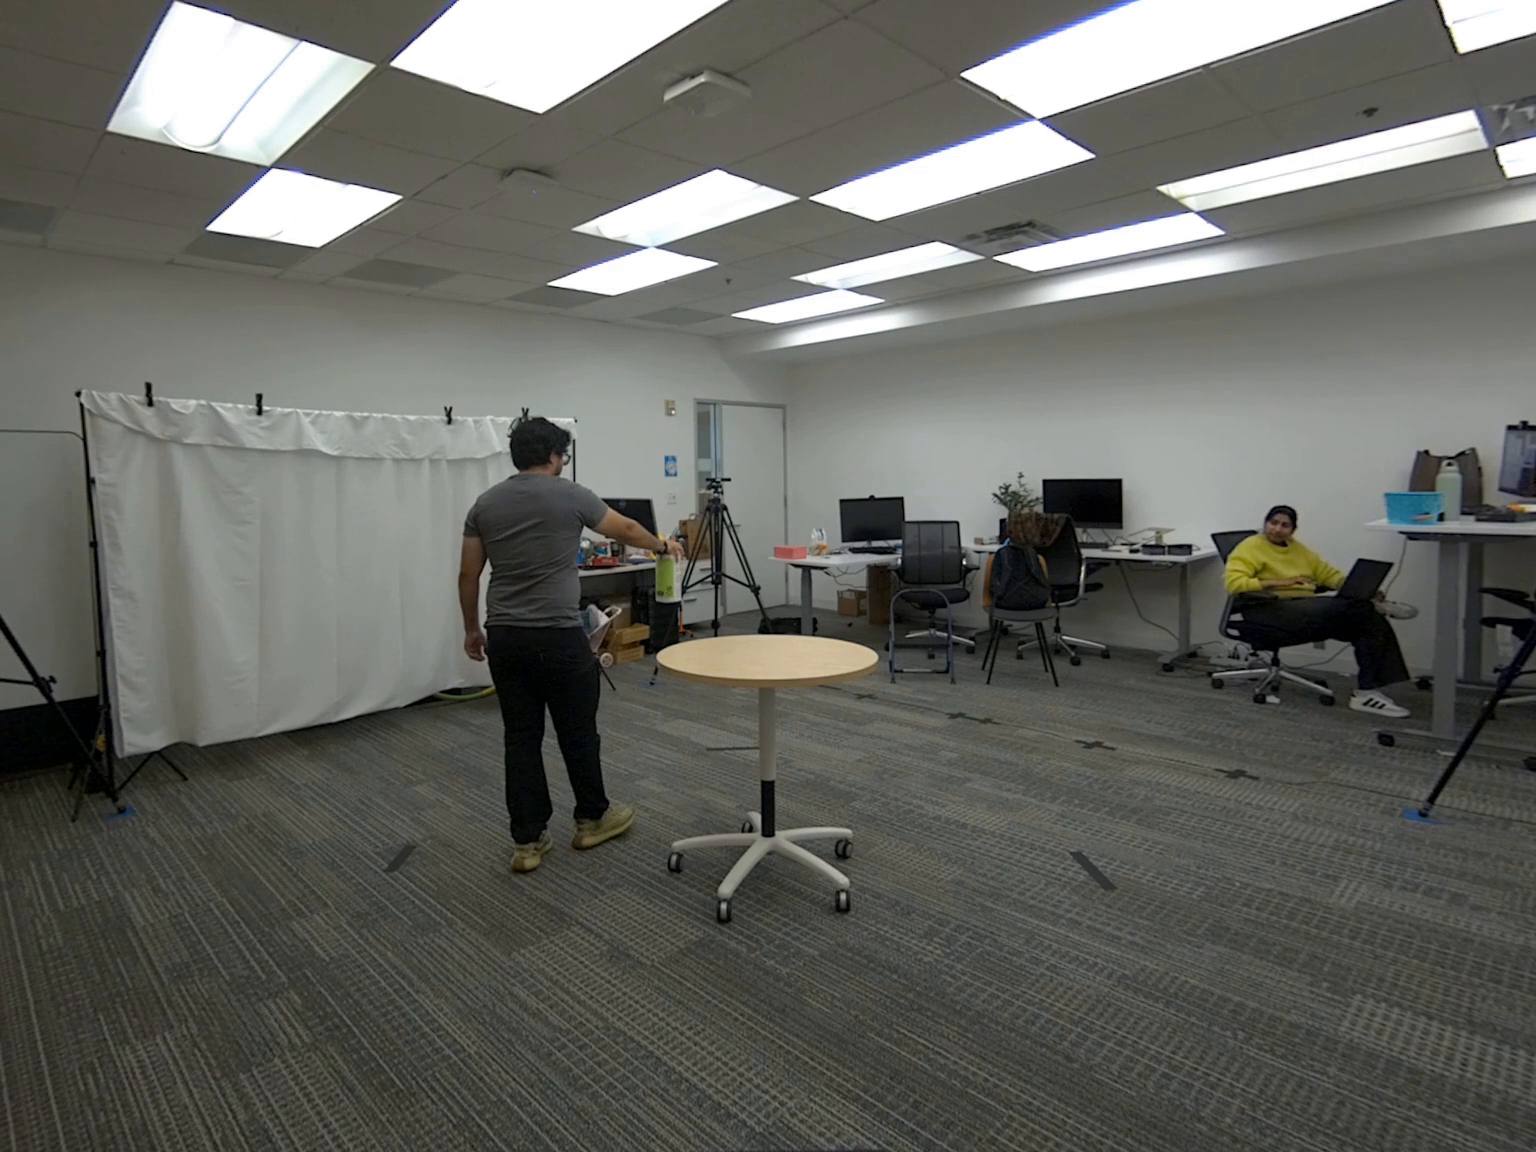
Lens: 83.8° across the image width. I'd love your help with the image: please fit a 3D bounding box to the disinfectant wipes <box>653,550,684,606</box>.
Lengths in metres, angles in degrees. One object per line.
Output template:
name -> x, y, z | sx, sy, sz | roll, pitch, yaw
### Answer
disinfectant wipes -> -0.423, 0.005, 3.627 | 0.118, 0.217, 0.118 | 0, 4, -2
